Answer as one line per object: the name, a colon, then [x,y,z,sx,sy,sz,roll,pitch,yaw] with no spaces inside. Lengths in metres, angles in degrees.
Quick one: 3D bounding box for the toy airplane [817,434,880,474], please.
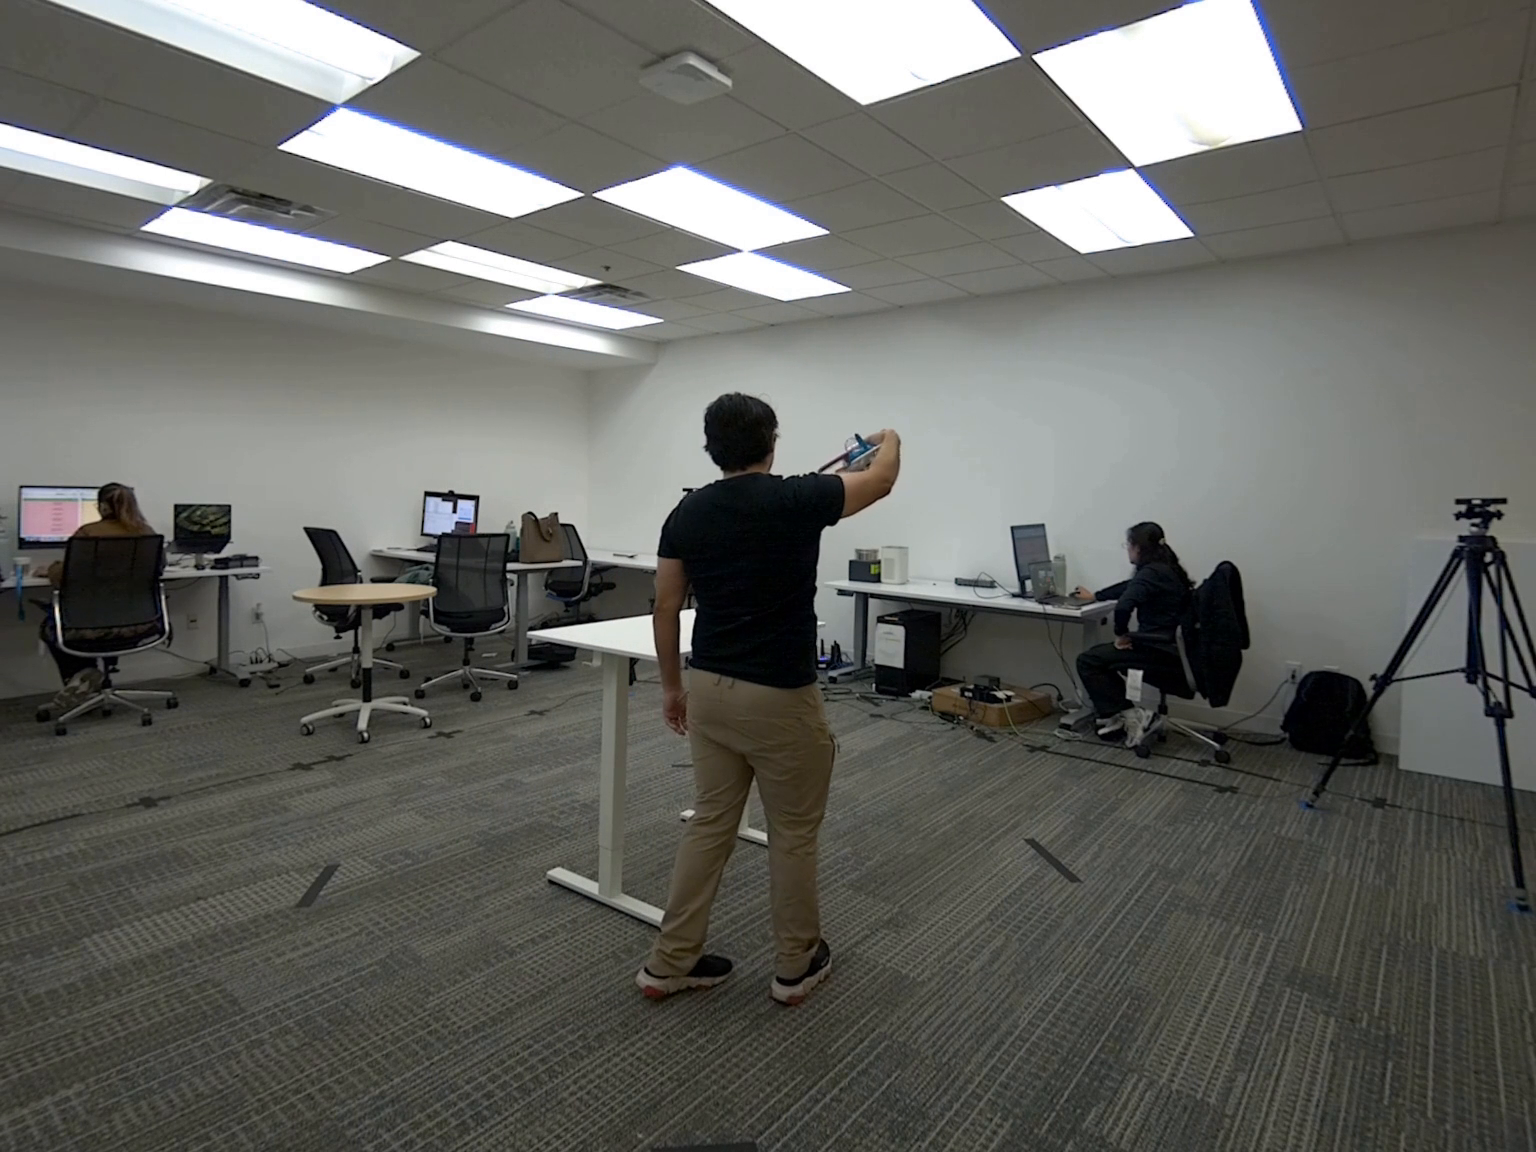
toy airplane: [0.304,-0.372,2.676,0.247,0.160,0.257,-23,-19,-31]
